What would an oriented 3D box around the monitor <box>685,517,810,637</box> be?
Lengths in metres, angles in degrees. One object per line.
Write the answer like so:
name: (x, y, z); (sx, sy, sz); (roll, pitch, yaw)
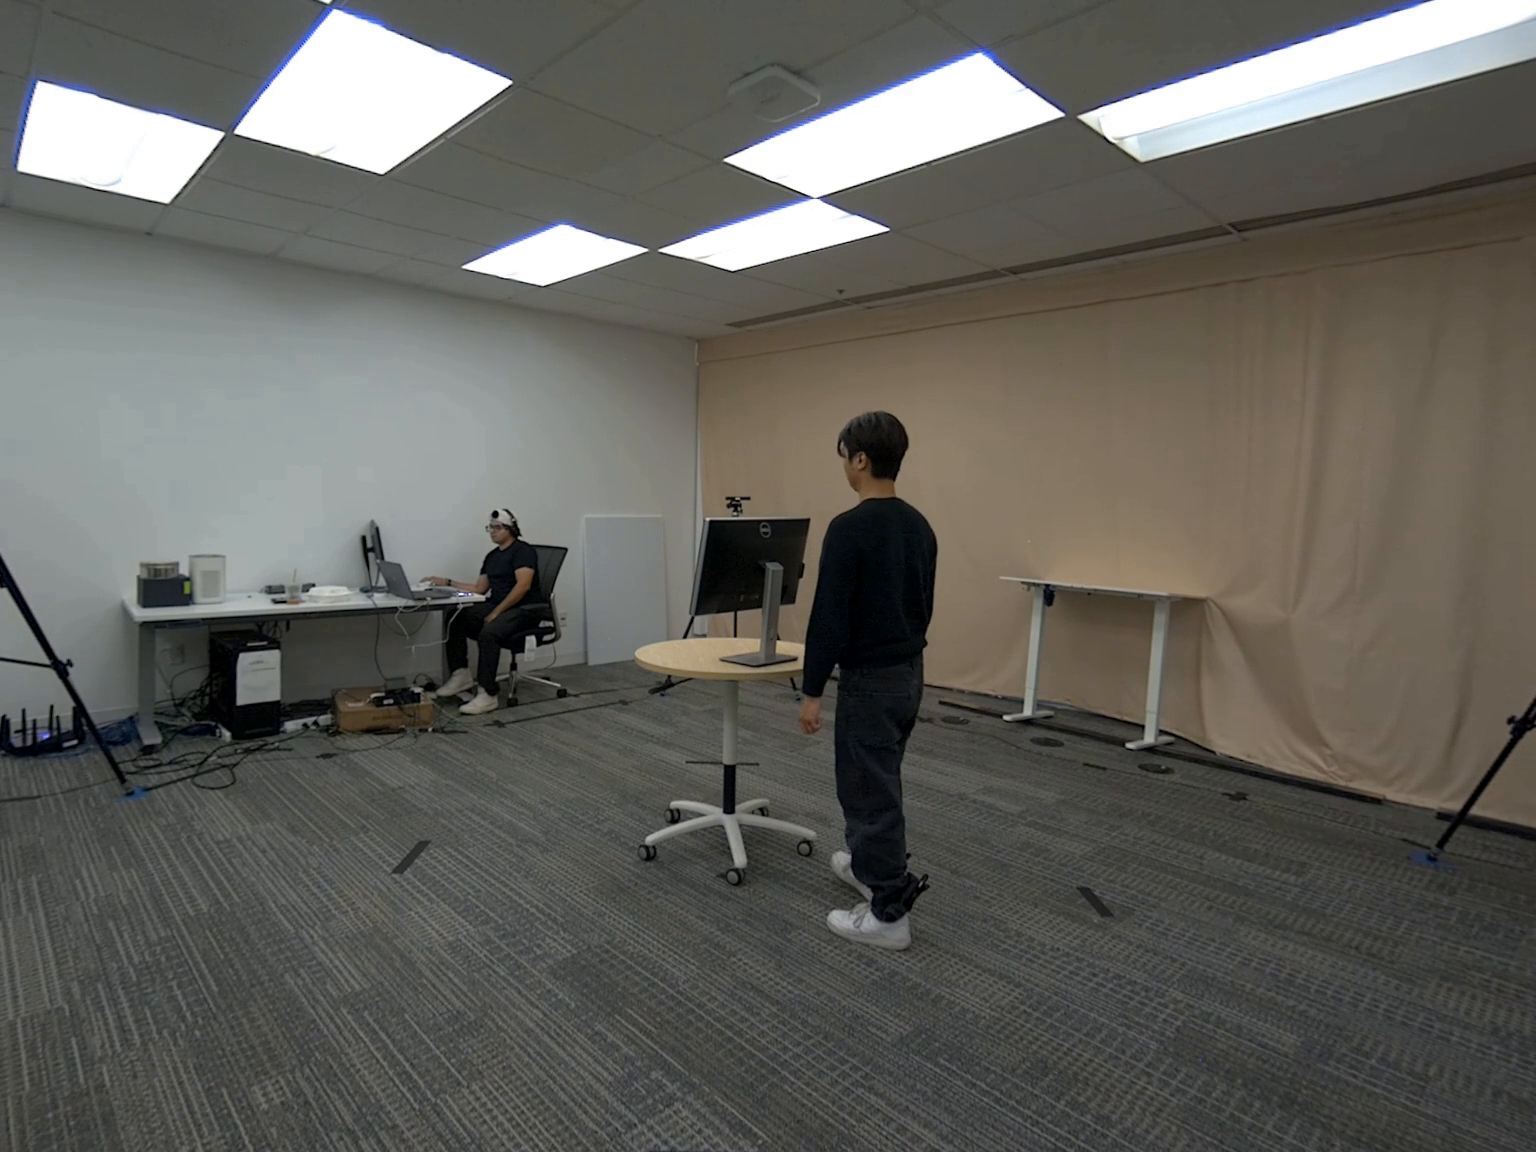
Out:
monitor: (-0.039, 0.053, 3.173); (0.192, 0.522, 0.527); (2, 3, 42)
